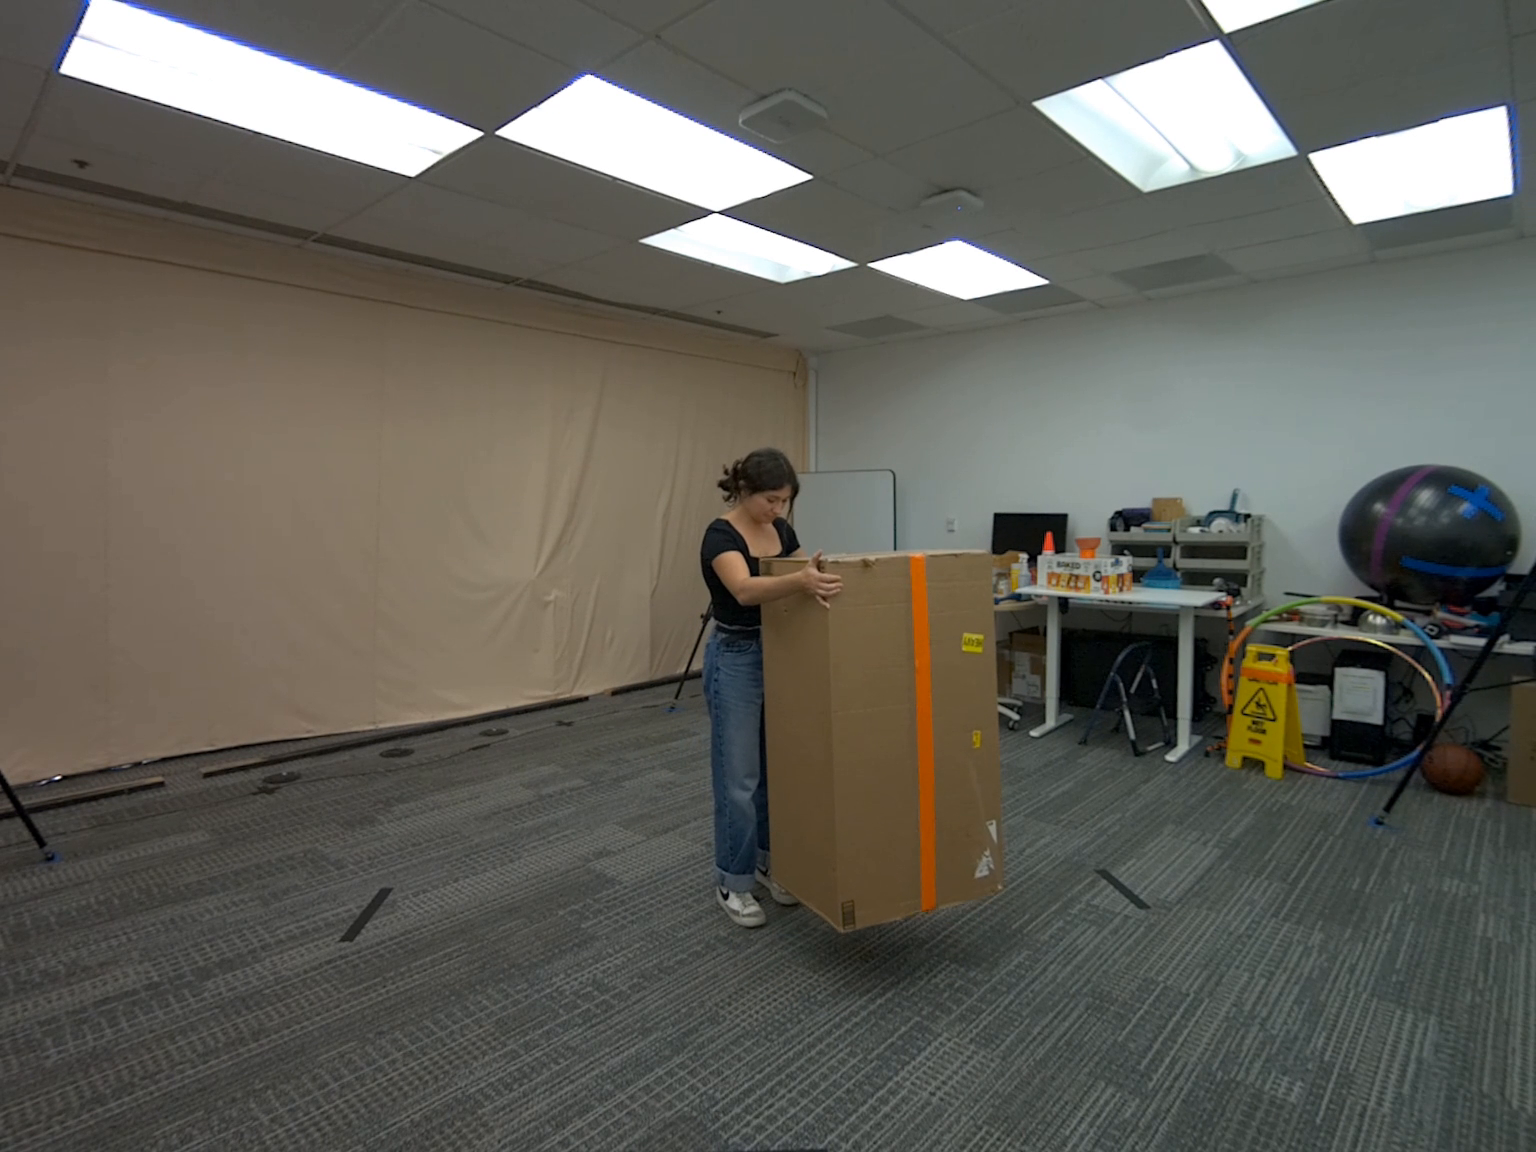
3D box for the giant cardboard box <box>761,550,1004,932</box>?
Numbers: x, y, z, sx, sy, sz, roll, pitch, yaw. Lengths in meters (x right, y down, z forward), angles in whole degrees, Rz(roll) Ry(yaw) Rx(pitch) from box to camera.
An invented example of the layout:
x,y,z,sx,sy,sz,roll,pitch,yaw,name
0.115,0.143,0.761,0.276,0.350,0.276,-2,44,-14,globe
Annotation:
x,y,z,sx,sy,sz,roll,pitch,yaw,name
0.350,0.458,2.586,0.564,1.025,0.437,-3,1,-26,giant cardboard box
